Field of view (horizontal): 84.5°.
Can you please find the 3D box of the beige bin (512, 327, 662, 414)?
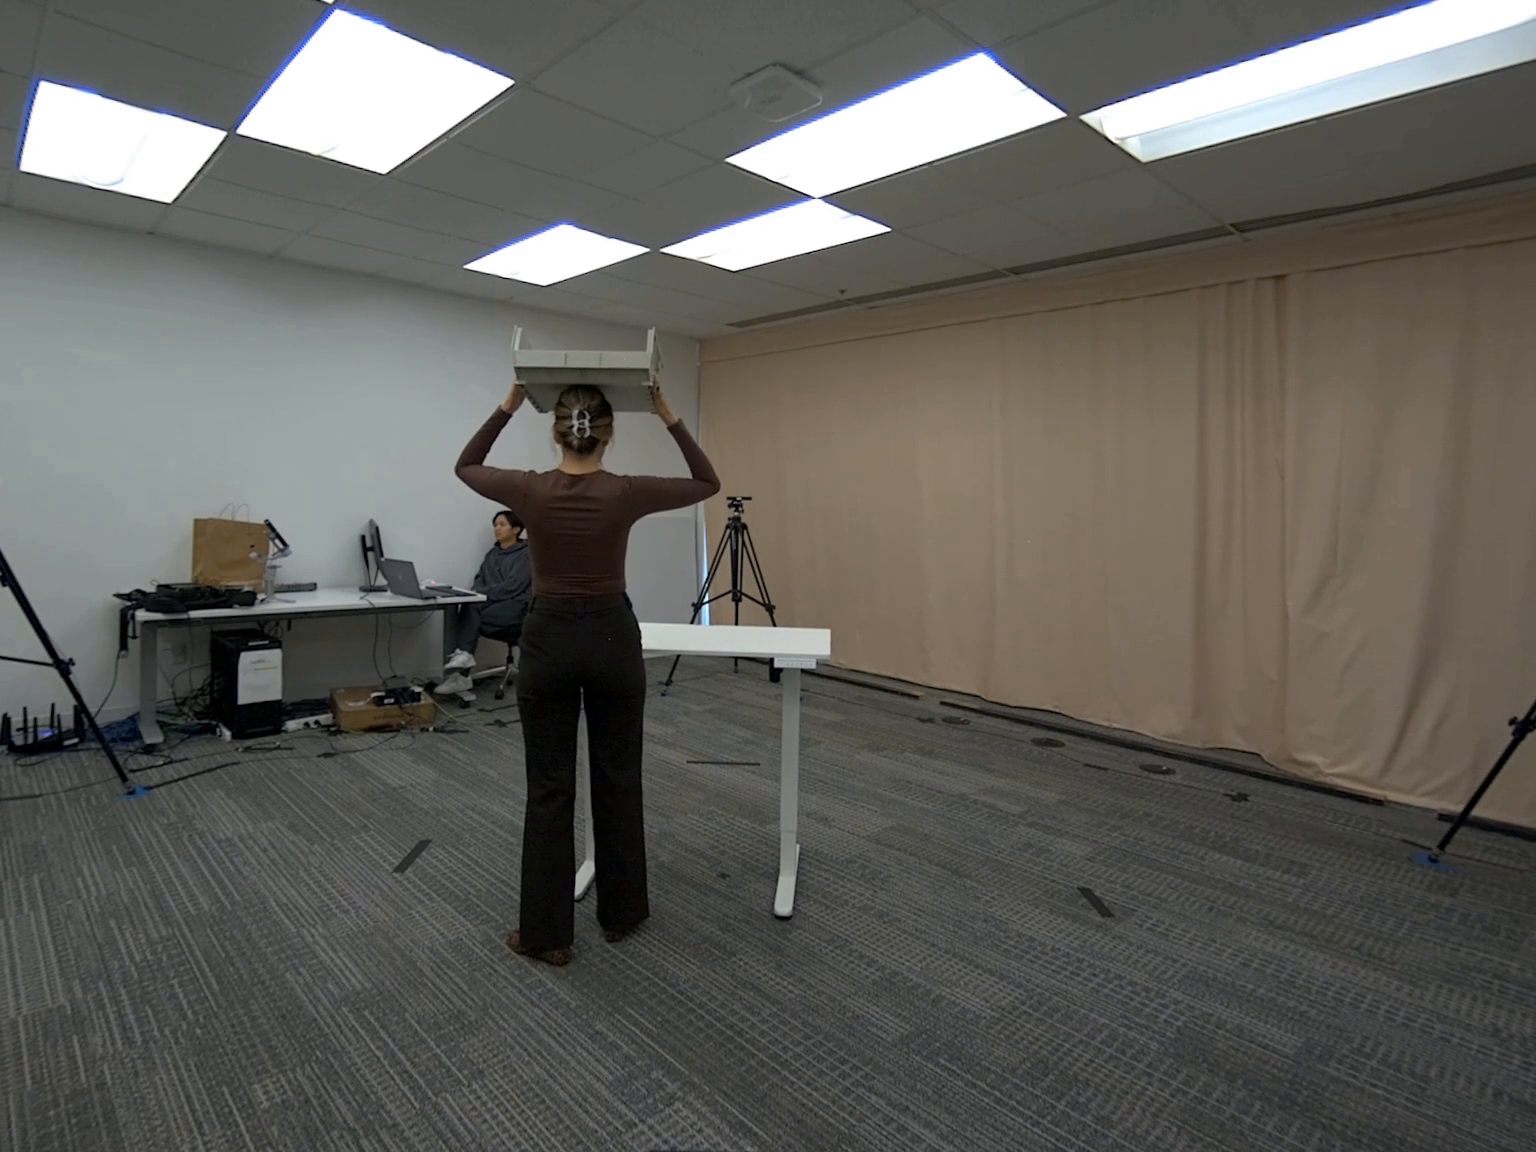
[{"bbox_3d":[-0.562,-0.654,2.657,0.422,0.190,0.375,1,-7,0],"label":"beige bin"}]
